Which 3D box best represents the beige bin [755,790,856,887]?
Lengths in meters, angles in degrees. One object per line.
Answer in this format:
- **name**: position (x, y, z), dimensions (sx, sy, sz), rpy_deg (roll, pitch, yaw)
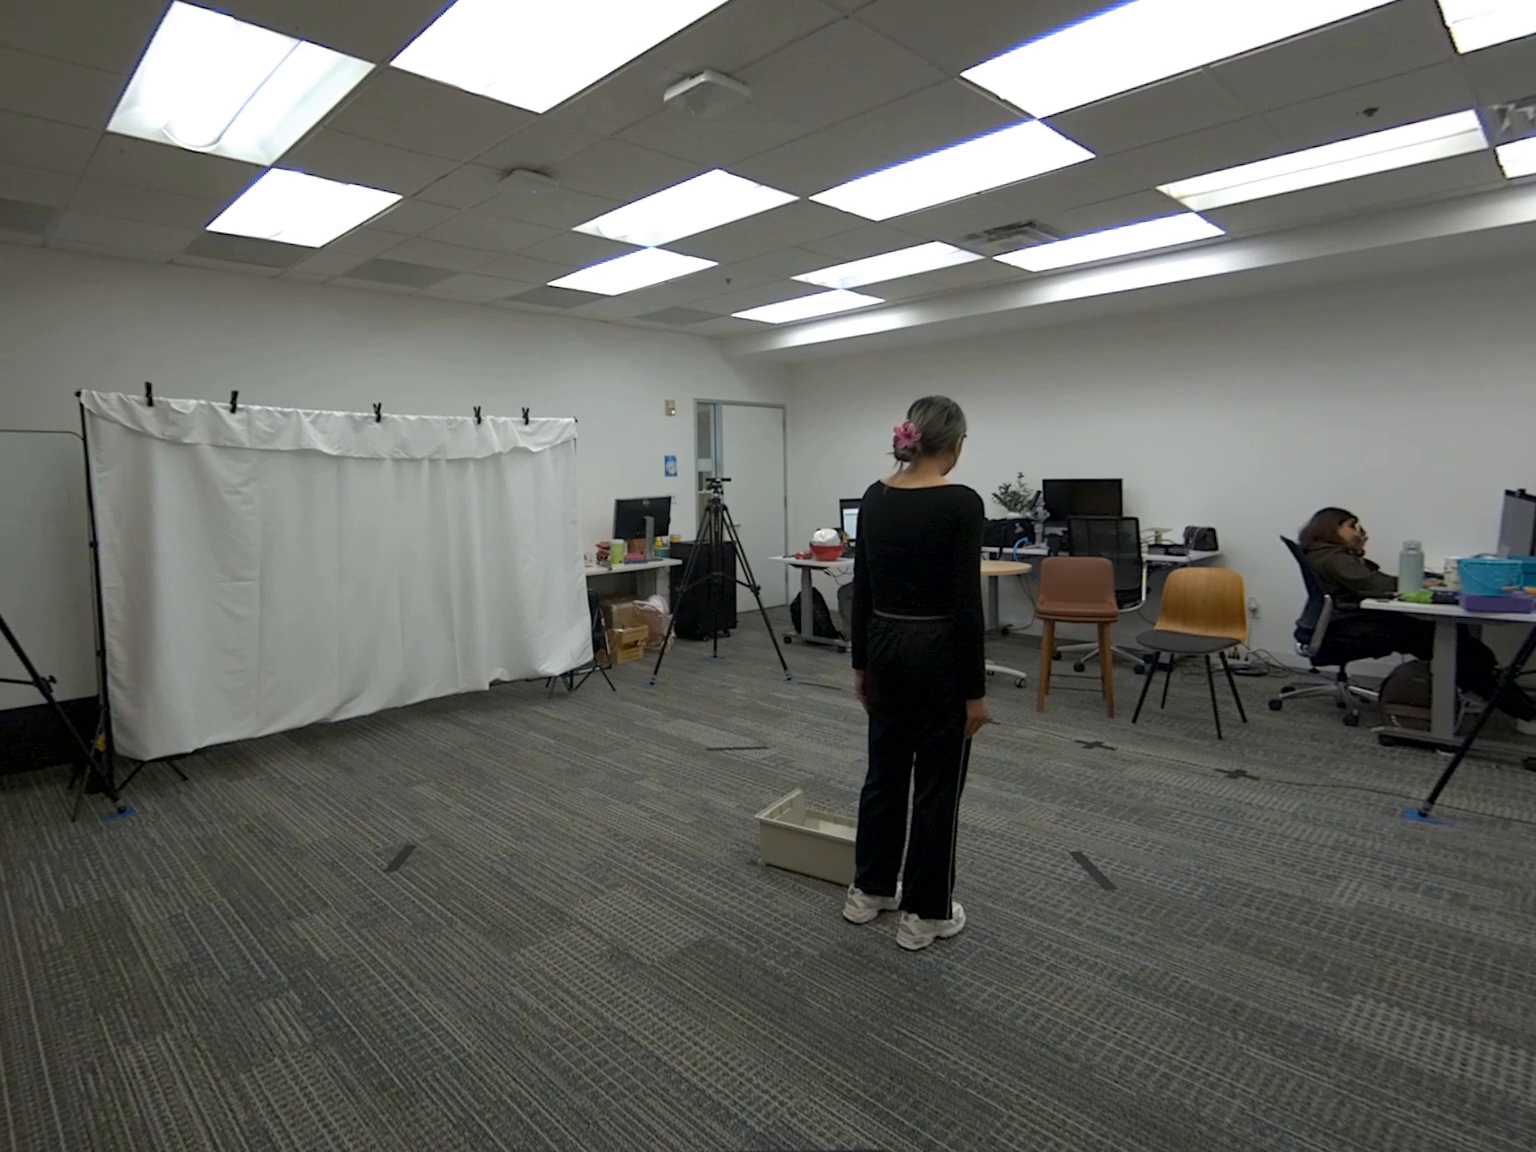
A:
- **beige bin**: position (0.226, 0.950, 3.121), dimensions (0.434, 0.188, 0.369), rpy_deg (4, 8, 32)
